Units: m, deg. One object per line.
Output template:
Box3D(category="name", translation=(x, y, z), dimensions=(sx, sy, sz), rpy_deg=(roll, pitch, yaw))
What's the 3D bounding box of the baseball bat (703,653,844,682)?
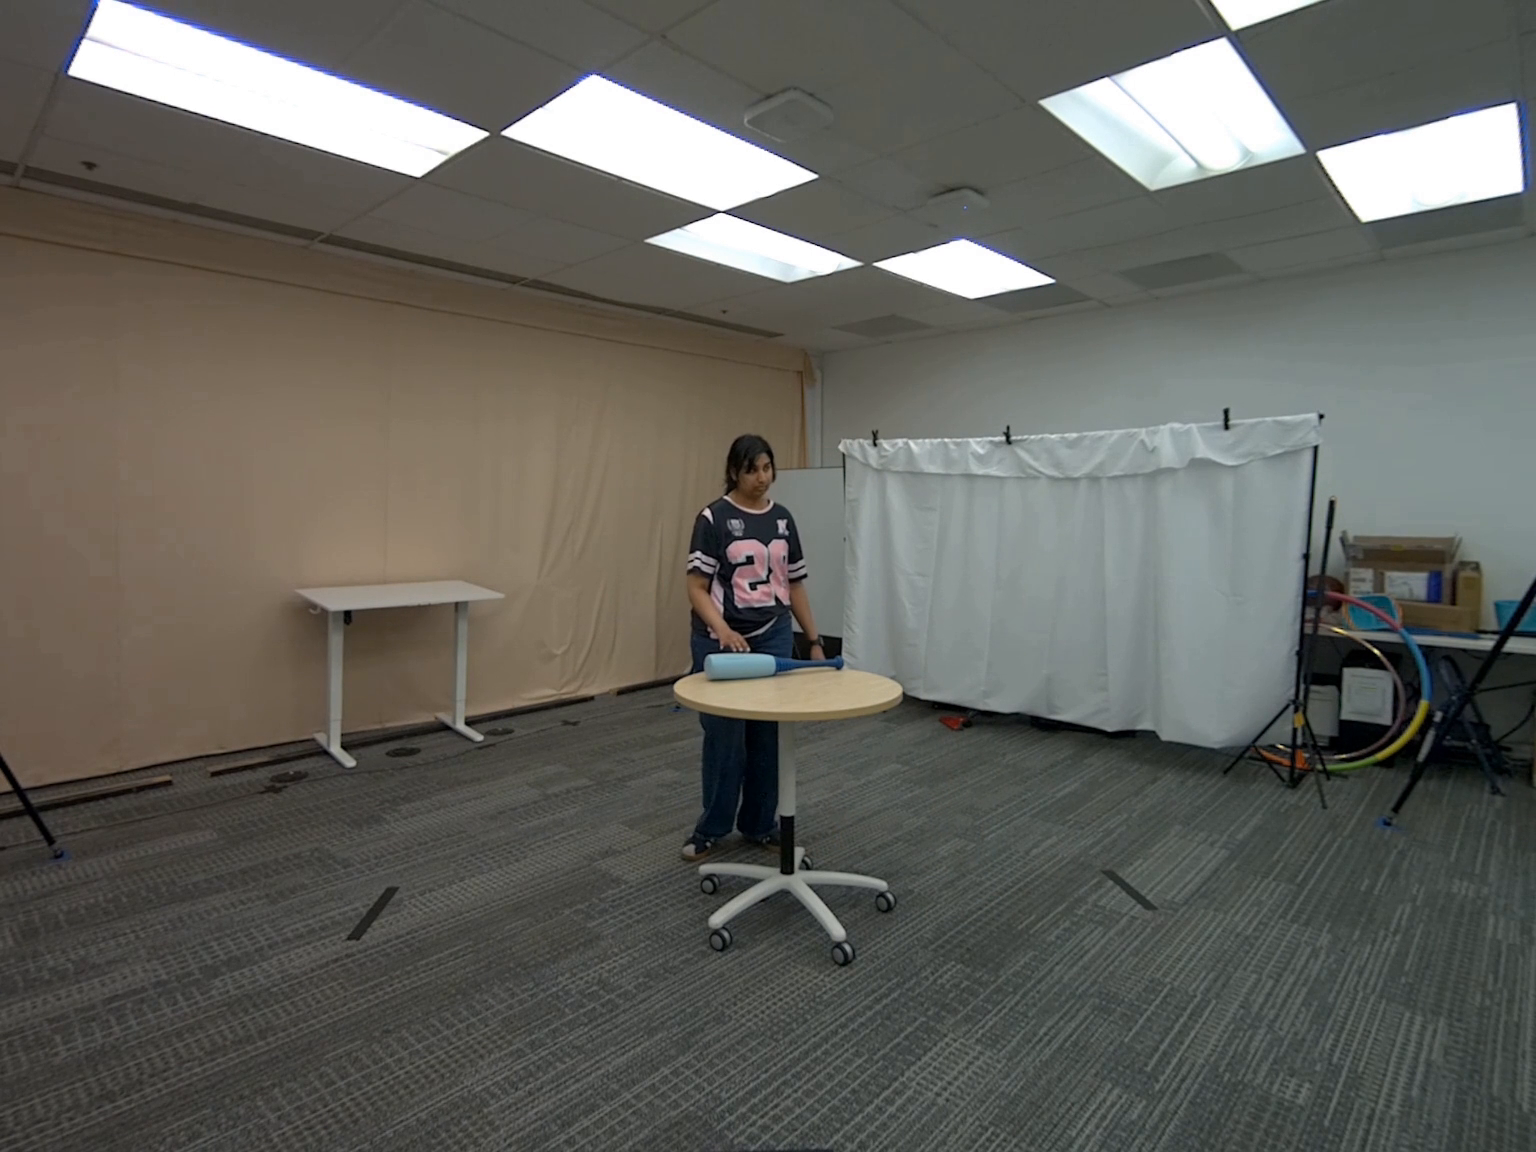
Box3D(category="baseball bat", translation=(0.035, 0.323, 3.025), dimensions=(0.530, 0.089, 0.091), rpy_deg=(2, 3, -23))
